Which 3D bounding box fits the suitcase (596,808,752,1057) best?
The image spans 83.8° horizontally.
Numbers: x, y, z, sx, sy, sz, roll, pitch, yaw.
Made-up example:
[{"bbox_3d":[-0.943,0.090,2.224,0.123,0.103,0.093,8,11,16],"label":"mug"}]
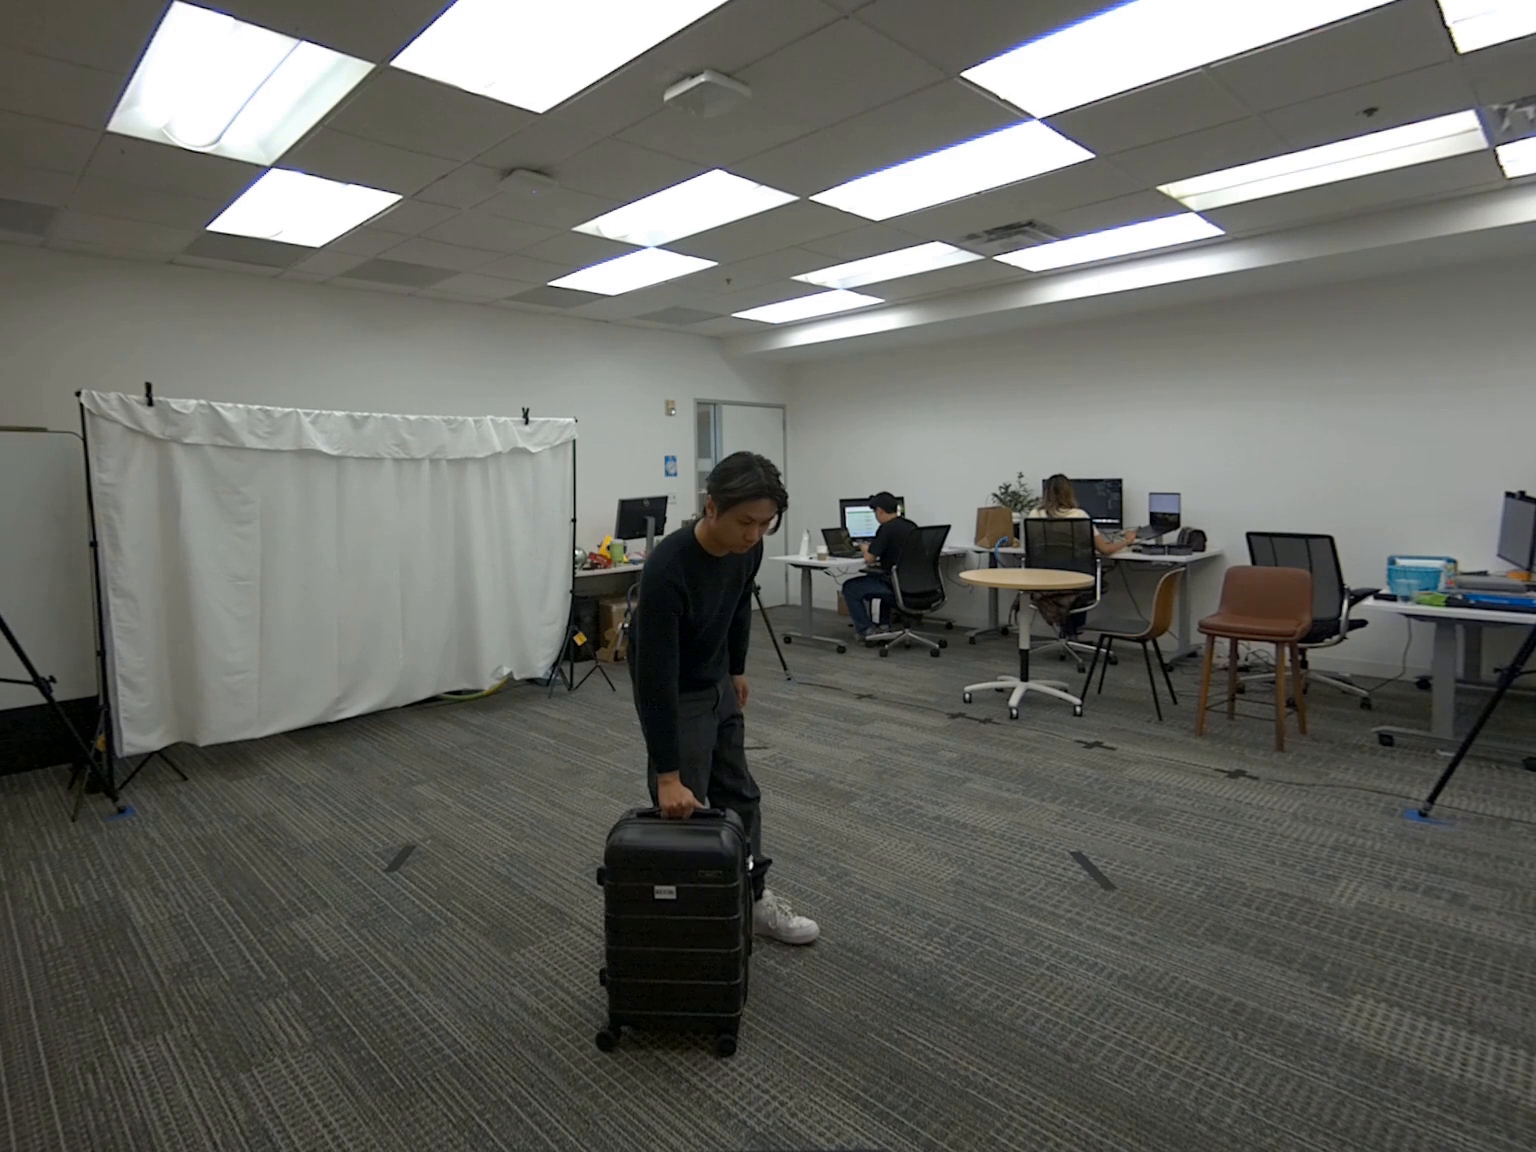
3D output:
[{"bbox_3d":[-0.229,0.881,2.190,0.377,0.547,0.248,0,5,3],"label":"suitcase"}]
